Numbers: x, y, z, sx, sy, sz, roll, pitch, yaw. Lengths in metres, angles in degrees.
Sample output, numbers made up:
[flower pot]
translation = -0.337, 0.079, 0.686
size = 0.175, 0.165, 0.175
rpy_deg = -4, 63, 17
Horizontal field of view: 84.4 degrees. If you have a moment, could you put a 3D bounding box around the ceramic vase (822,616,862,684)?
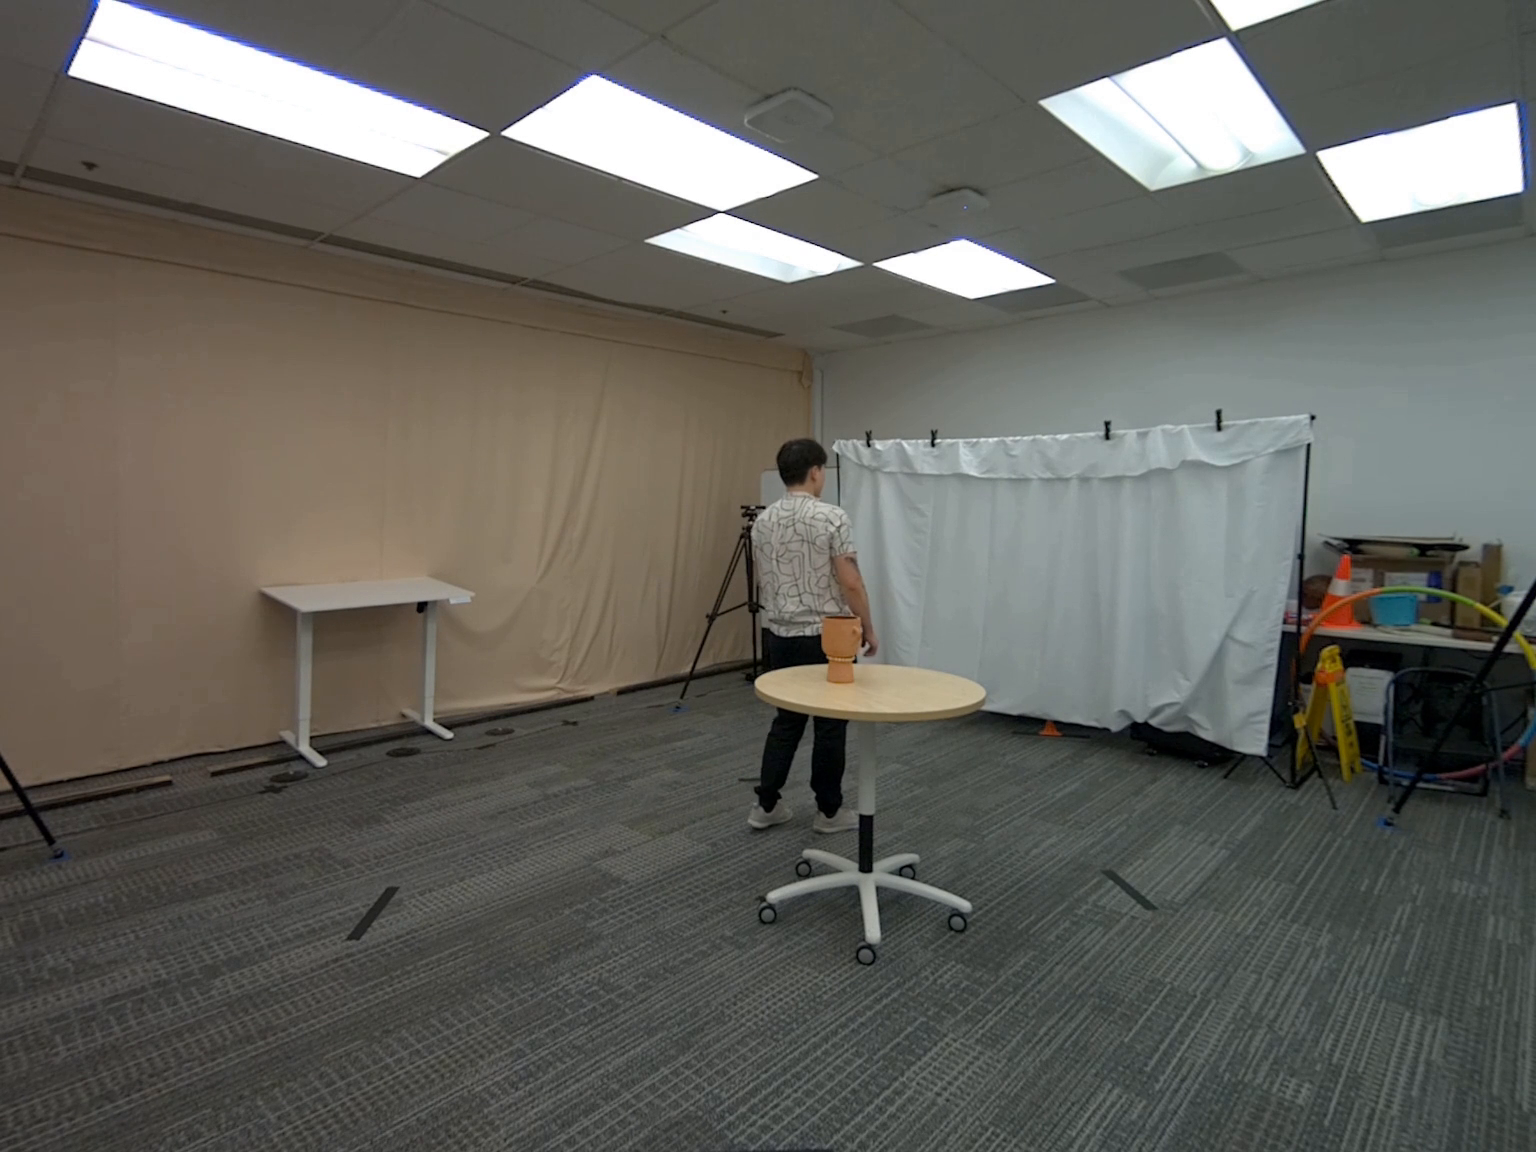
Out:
[ceramic vase]
translation = 0.253, 0.256, 2.917
size = 0.136, 0.219, 0.158
rpy_deg = 1, 4, 6
